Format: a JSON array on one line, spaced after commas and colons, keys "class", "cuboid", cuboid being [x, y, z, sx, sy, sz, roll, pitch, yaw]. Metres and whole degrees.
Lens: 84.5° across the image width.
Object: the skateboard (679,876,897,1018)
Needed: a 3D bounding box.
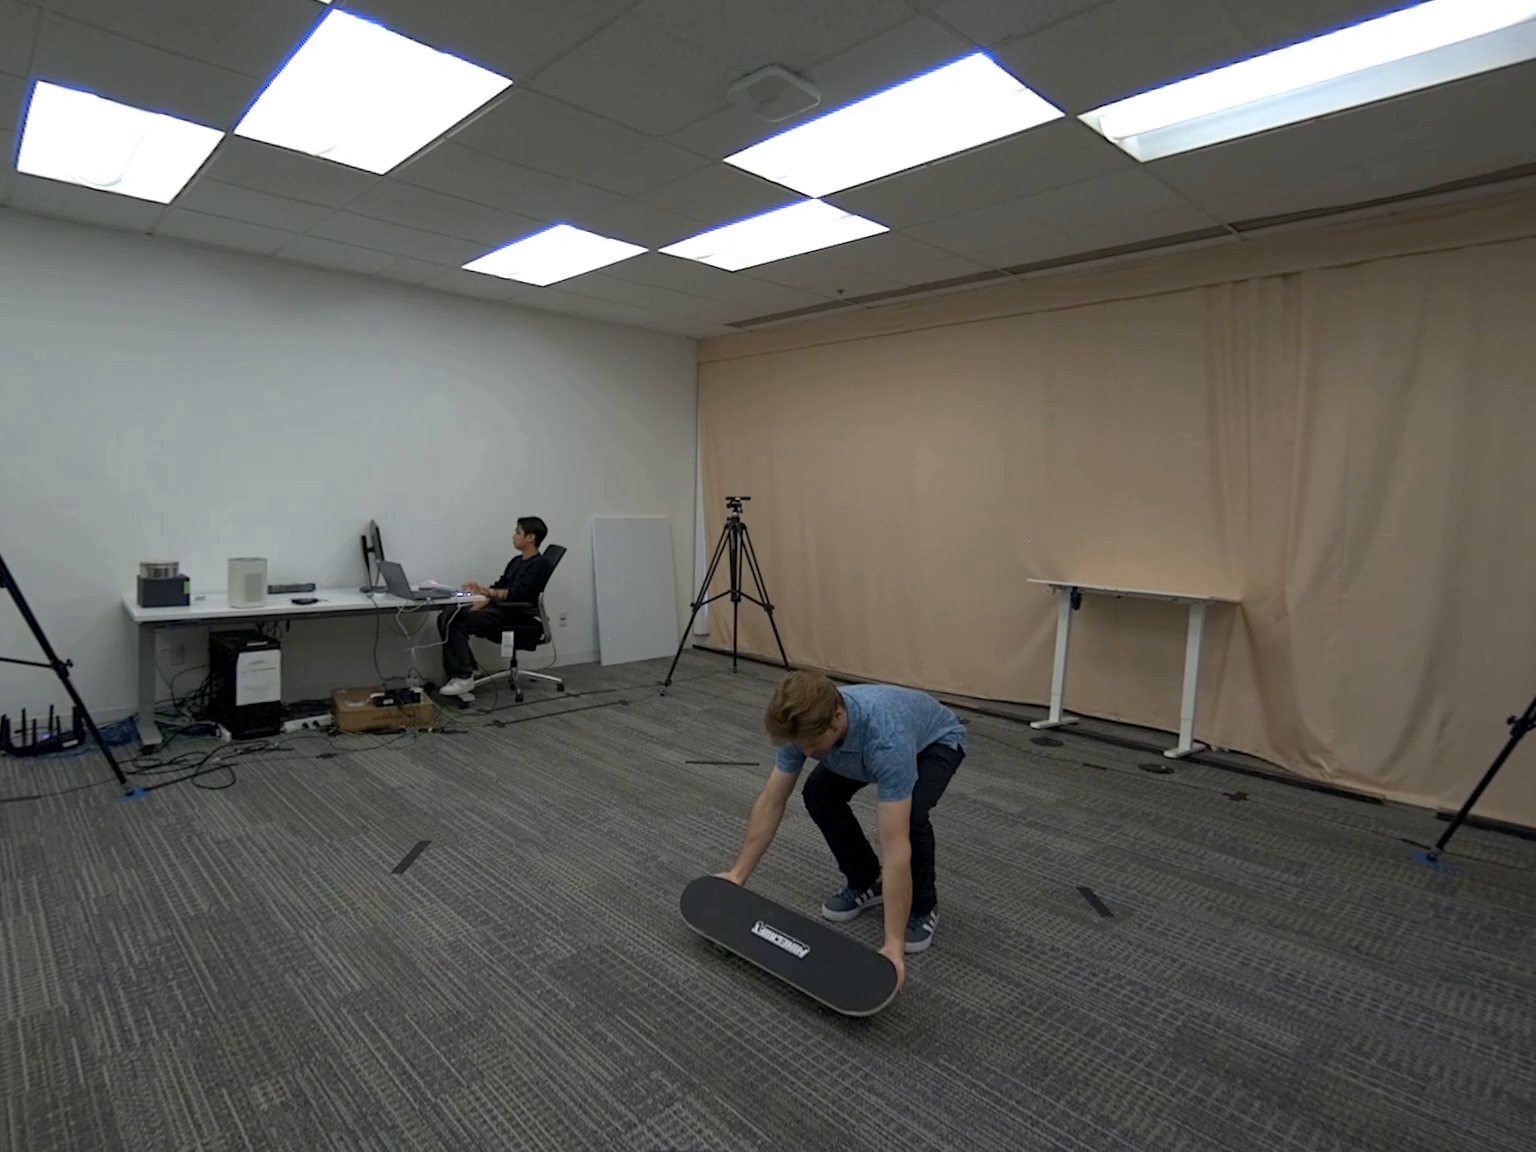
[{"class": "skateboard", "cuboid": [0.041, 1.078, 2.463, 0.806, 0.108, 0.193, 7, 39, 44]}]
